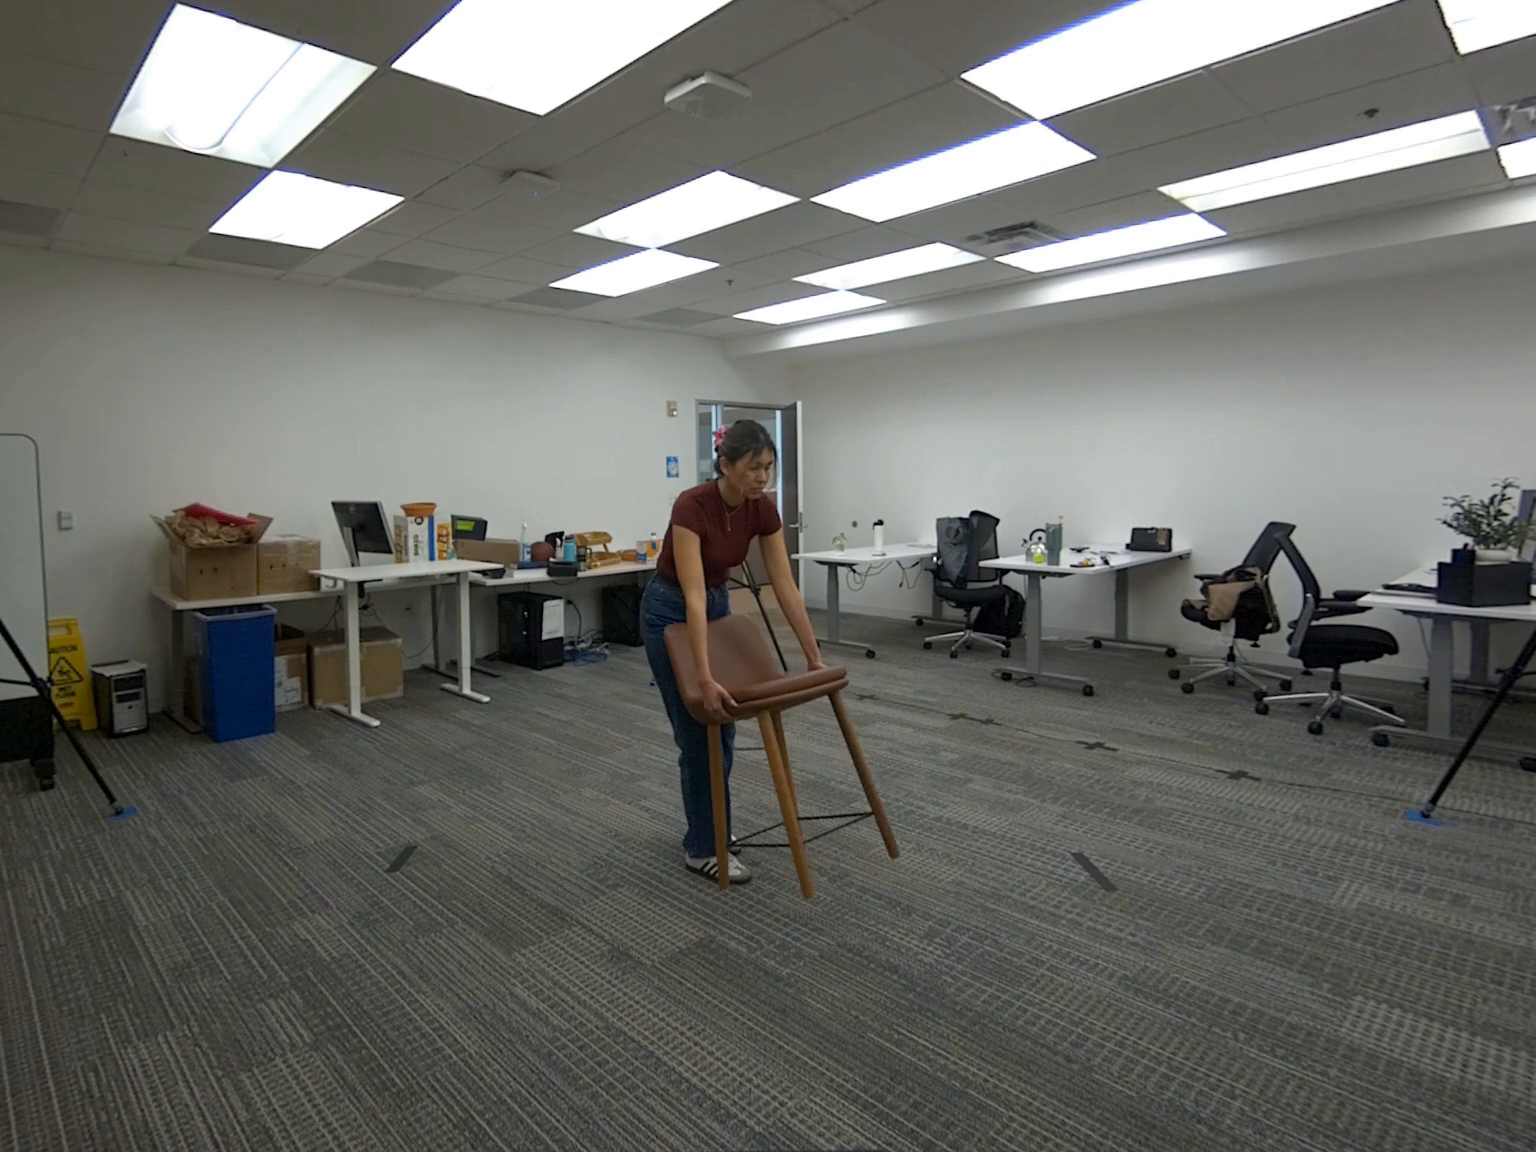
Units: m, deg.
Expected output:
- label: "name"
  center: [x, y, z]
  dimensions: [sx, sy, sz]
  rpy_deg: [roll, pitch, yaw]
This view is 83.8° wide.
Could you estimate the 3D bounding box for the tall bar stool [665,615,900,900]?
- label: "tall bar stool"
  center: [0.022, 0.530, 2.778]
  dimensions: [0.444, 0.901, 0.474]
  rpy_deg: [-4, -14, -40]
